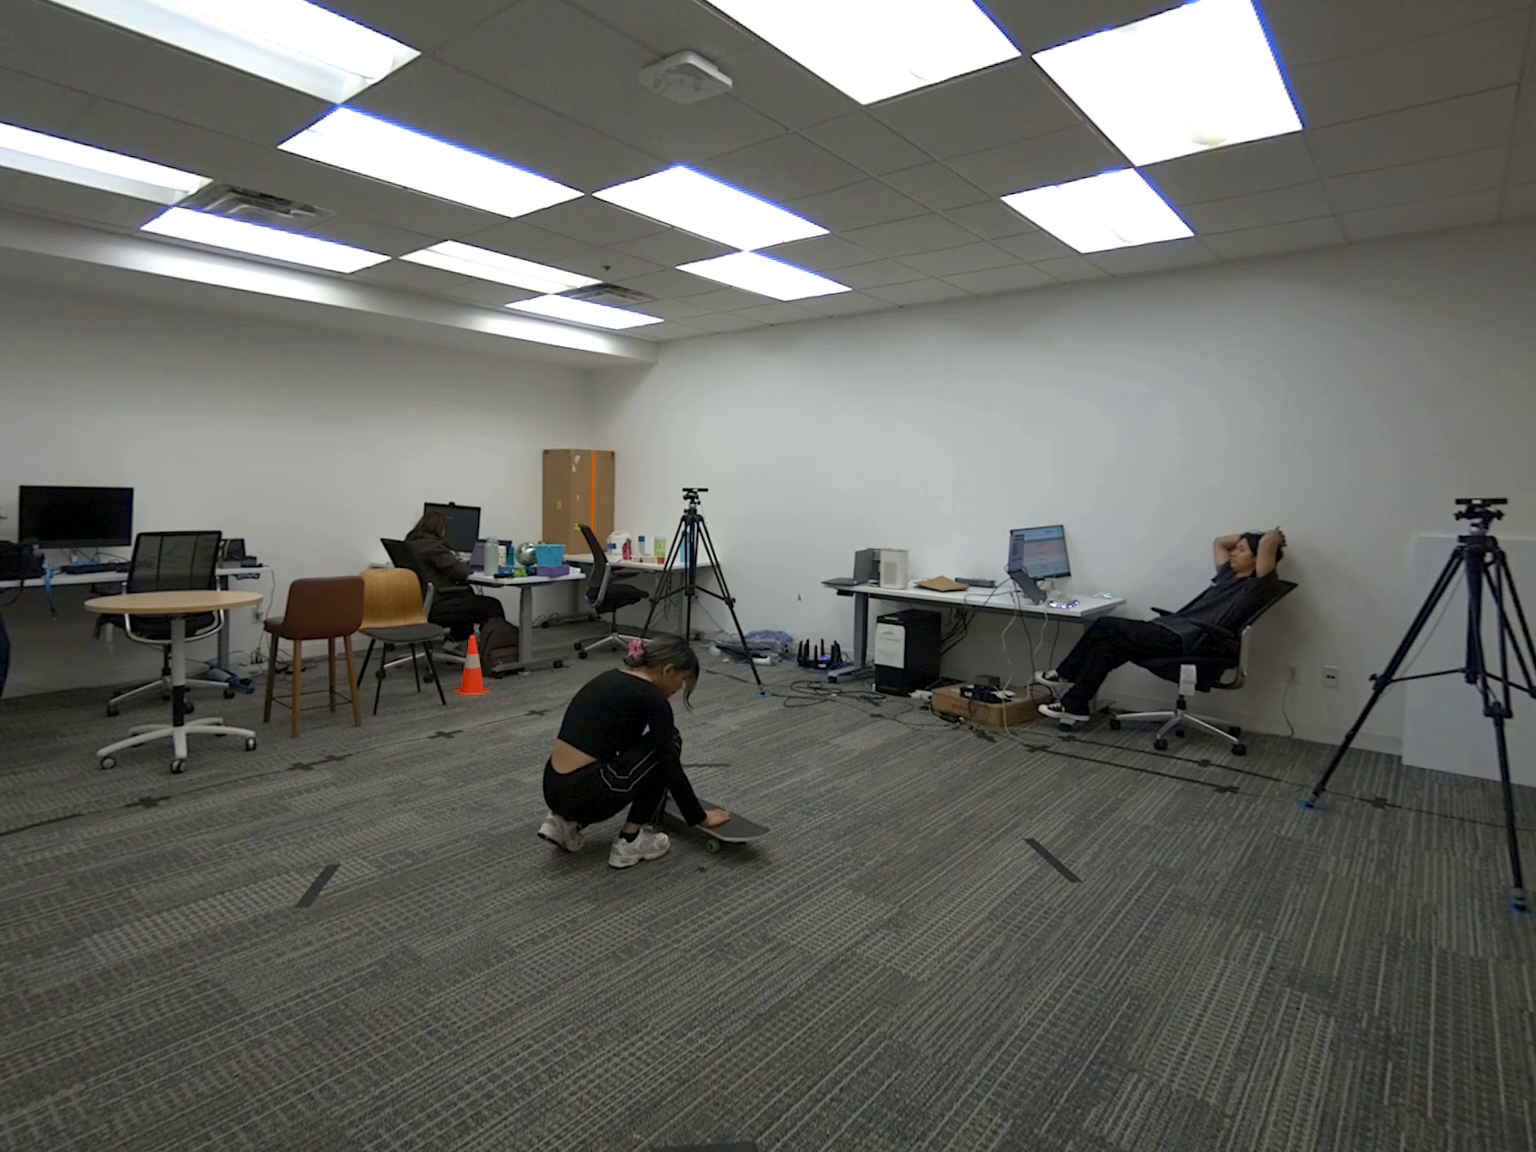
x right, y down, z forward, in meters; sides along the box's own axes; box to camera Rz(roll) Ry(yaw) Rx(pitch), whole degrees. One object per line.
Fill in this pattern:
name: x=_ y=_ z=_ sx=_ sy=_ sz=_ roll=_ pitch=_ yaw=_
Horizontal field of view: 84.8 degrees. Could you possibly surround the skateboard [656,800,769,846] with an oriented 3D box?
skateboard: x=-0.301 y=0.980 z=3.449 sx=0.187 sy=0.110 sz=0.813 roll=-3 pitch=7 yaw=-42
